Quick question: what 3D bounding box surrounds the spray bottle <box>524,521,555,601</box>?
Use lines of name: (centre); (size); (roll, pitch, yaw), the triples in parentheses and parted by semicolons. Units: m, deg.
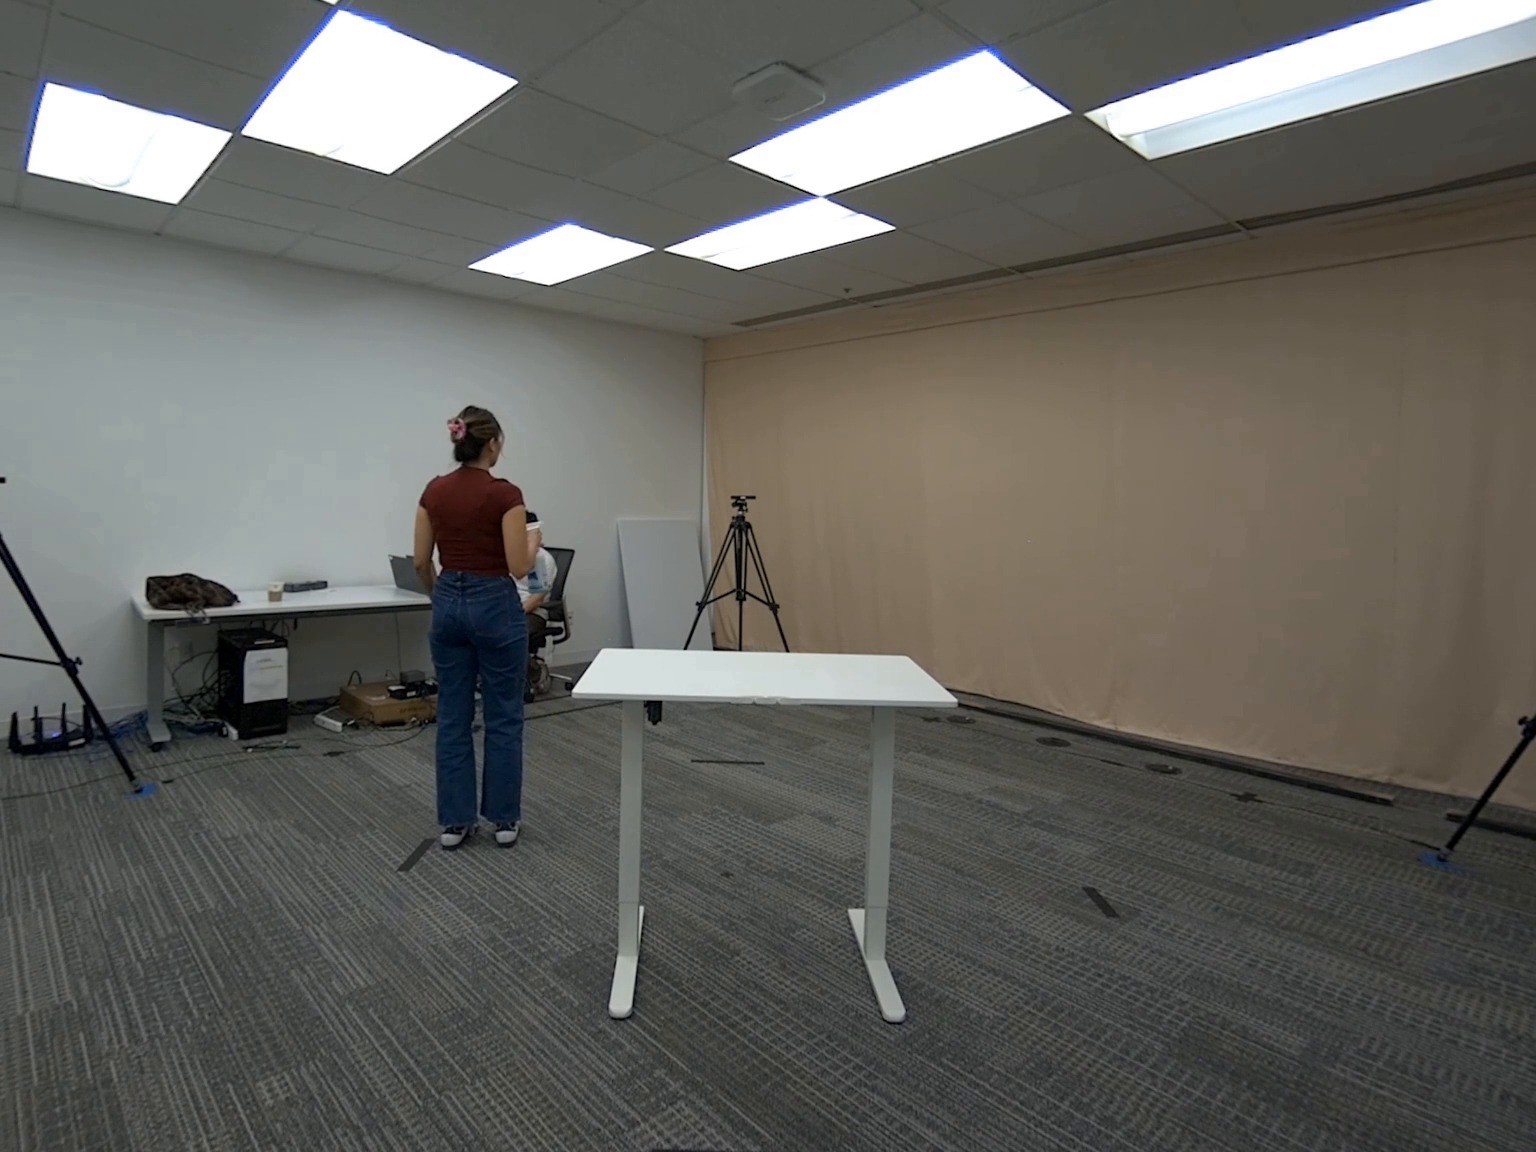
spray bottle: (-1.006, -0.068, 3.590); (0.090, 0.296, 0.088); (-4, 6, -4)
